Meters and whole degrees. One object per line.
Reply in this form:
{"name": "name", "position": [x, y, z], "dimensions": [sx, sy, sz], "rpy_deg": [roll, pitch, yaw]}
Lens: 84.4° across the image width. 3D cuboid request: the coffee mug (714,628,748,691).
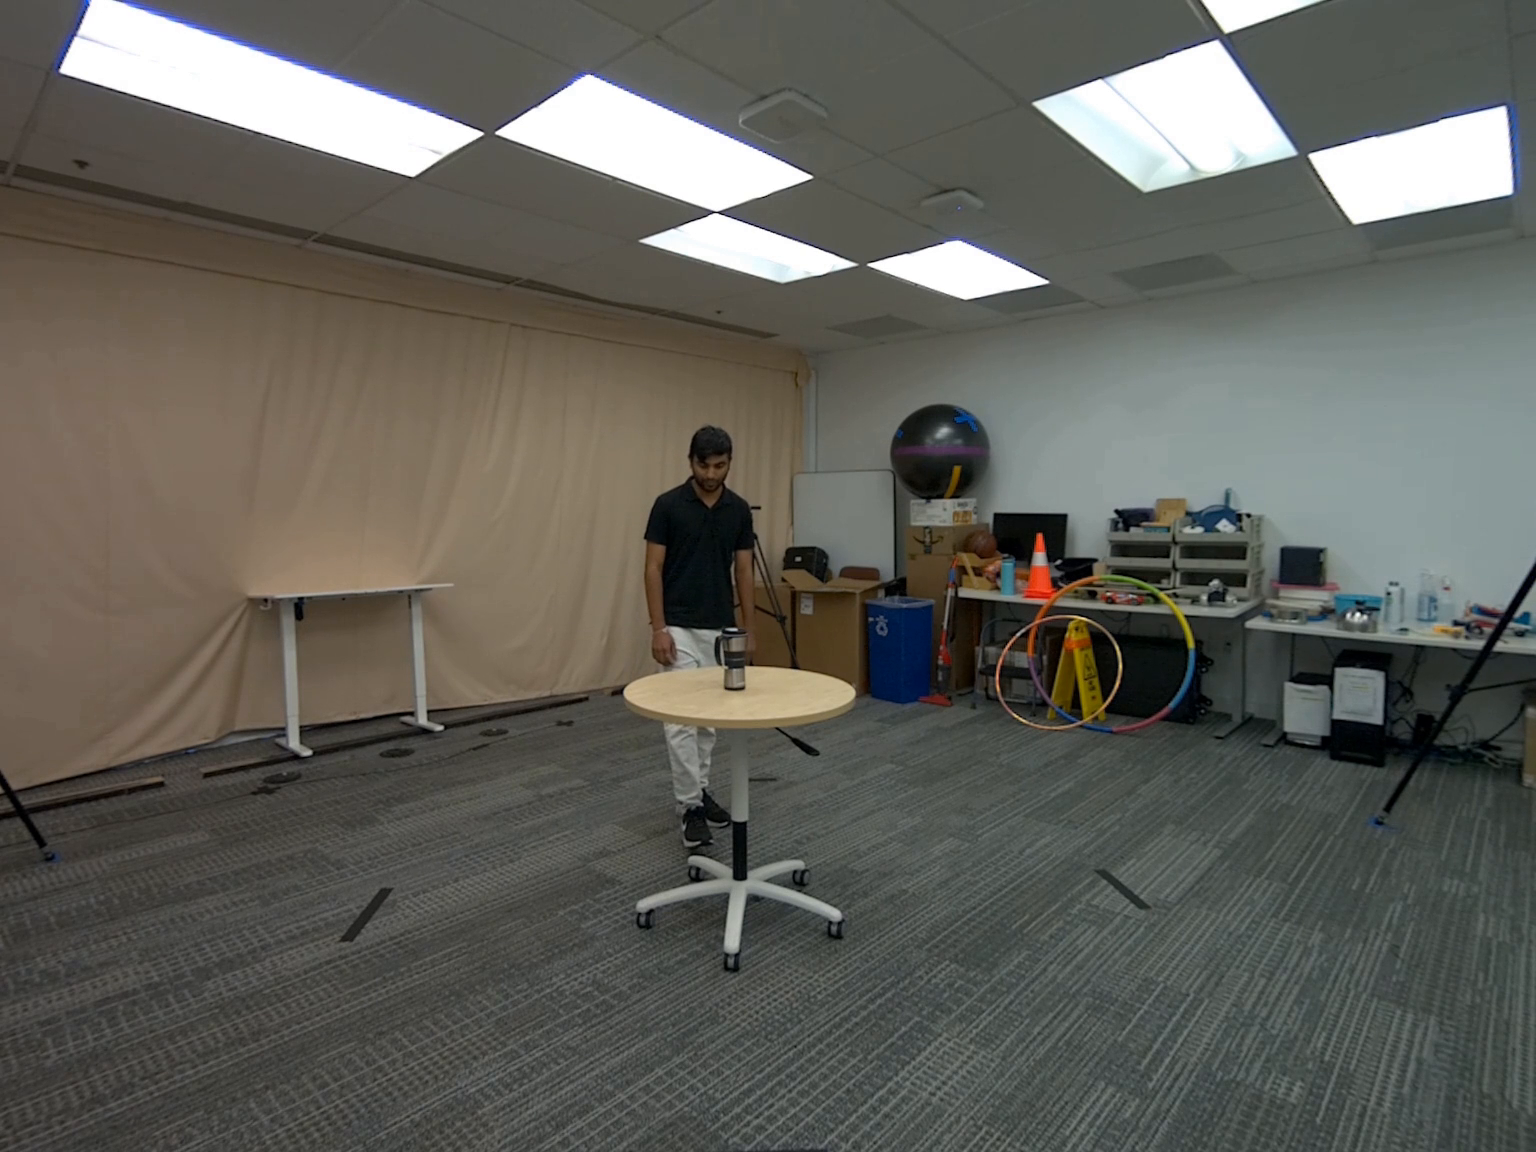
{"name": "coffee mug", "position": [-0.126, 0.279, 2.817], "dimensions": [0.126, 0.202, 0.085], "rpy_deg": [4, 10, 35]}
